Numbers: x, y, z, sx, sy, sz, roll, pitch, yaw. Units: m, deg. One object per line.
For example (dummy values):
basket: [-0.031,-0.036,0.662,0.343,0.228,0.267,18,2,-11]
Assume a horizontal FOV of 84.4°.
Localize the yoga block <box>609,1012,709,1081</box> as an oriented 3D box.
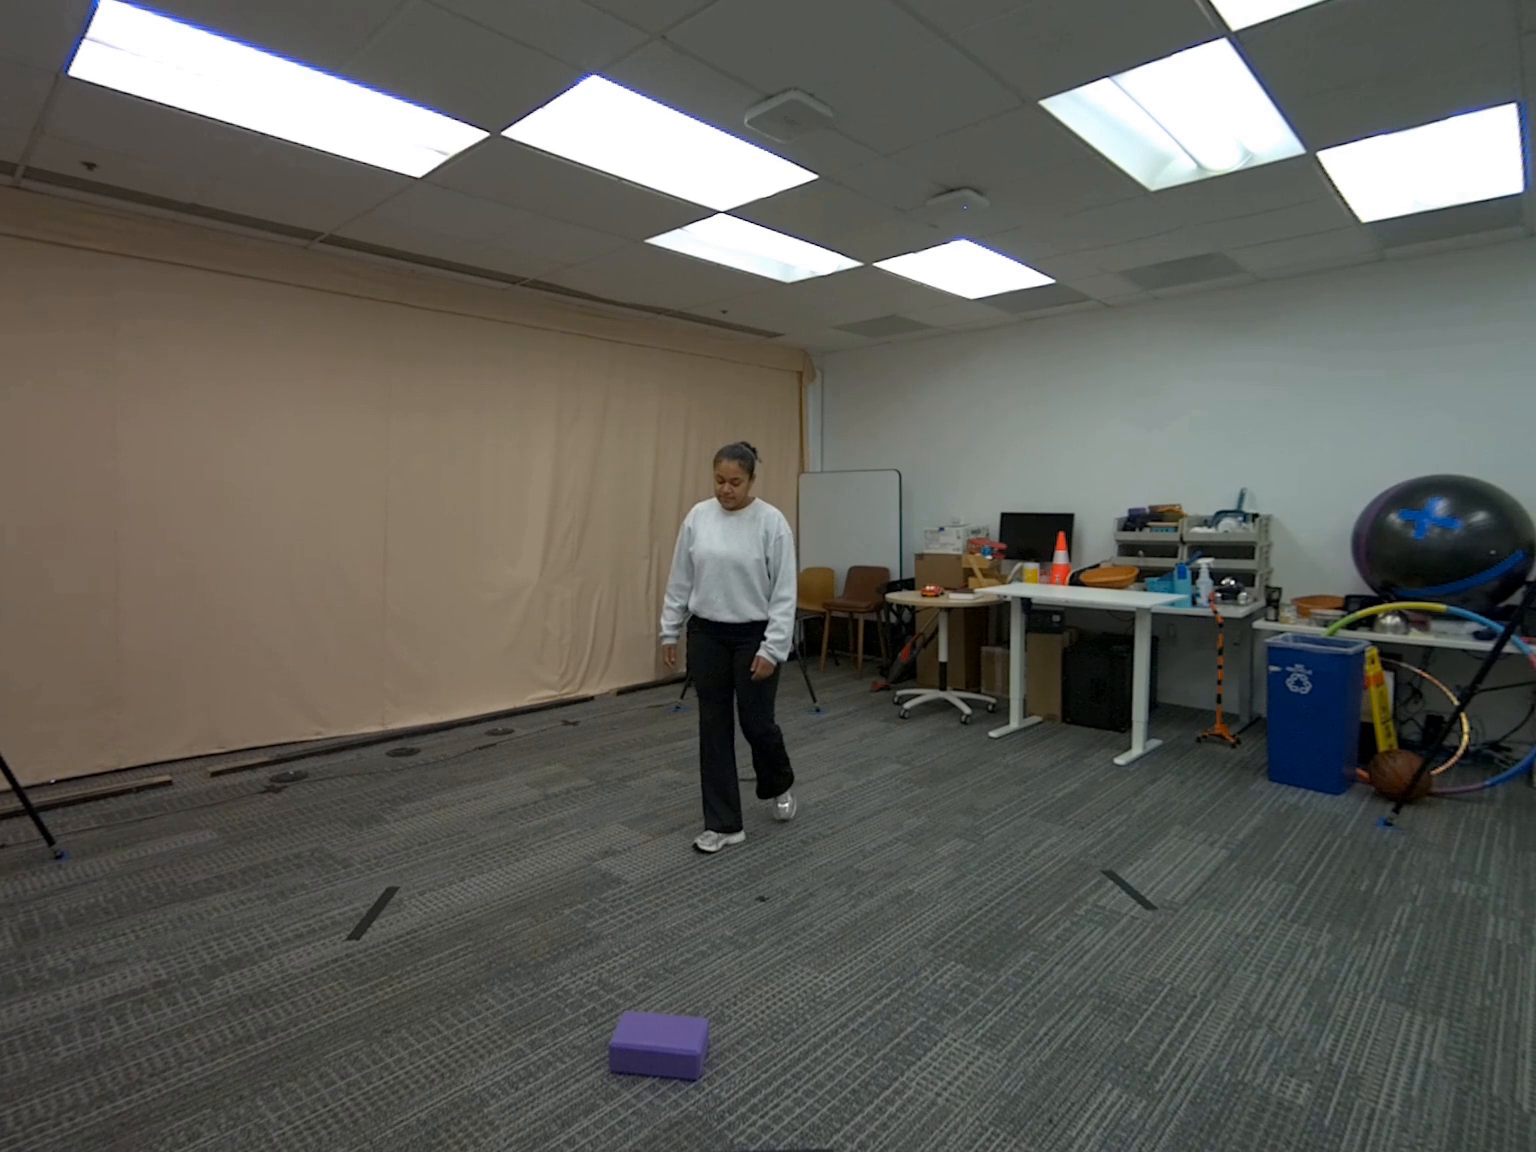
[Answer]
yoga block: [-0.270,1.174,2.122,0.231,0.076,0.148,0,4,8]
